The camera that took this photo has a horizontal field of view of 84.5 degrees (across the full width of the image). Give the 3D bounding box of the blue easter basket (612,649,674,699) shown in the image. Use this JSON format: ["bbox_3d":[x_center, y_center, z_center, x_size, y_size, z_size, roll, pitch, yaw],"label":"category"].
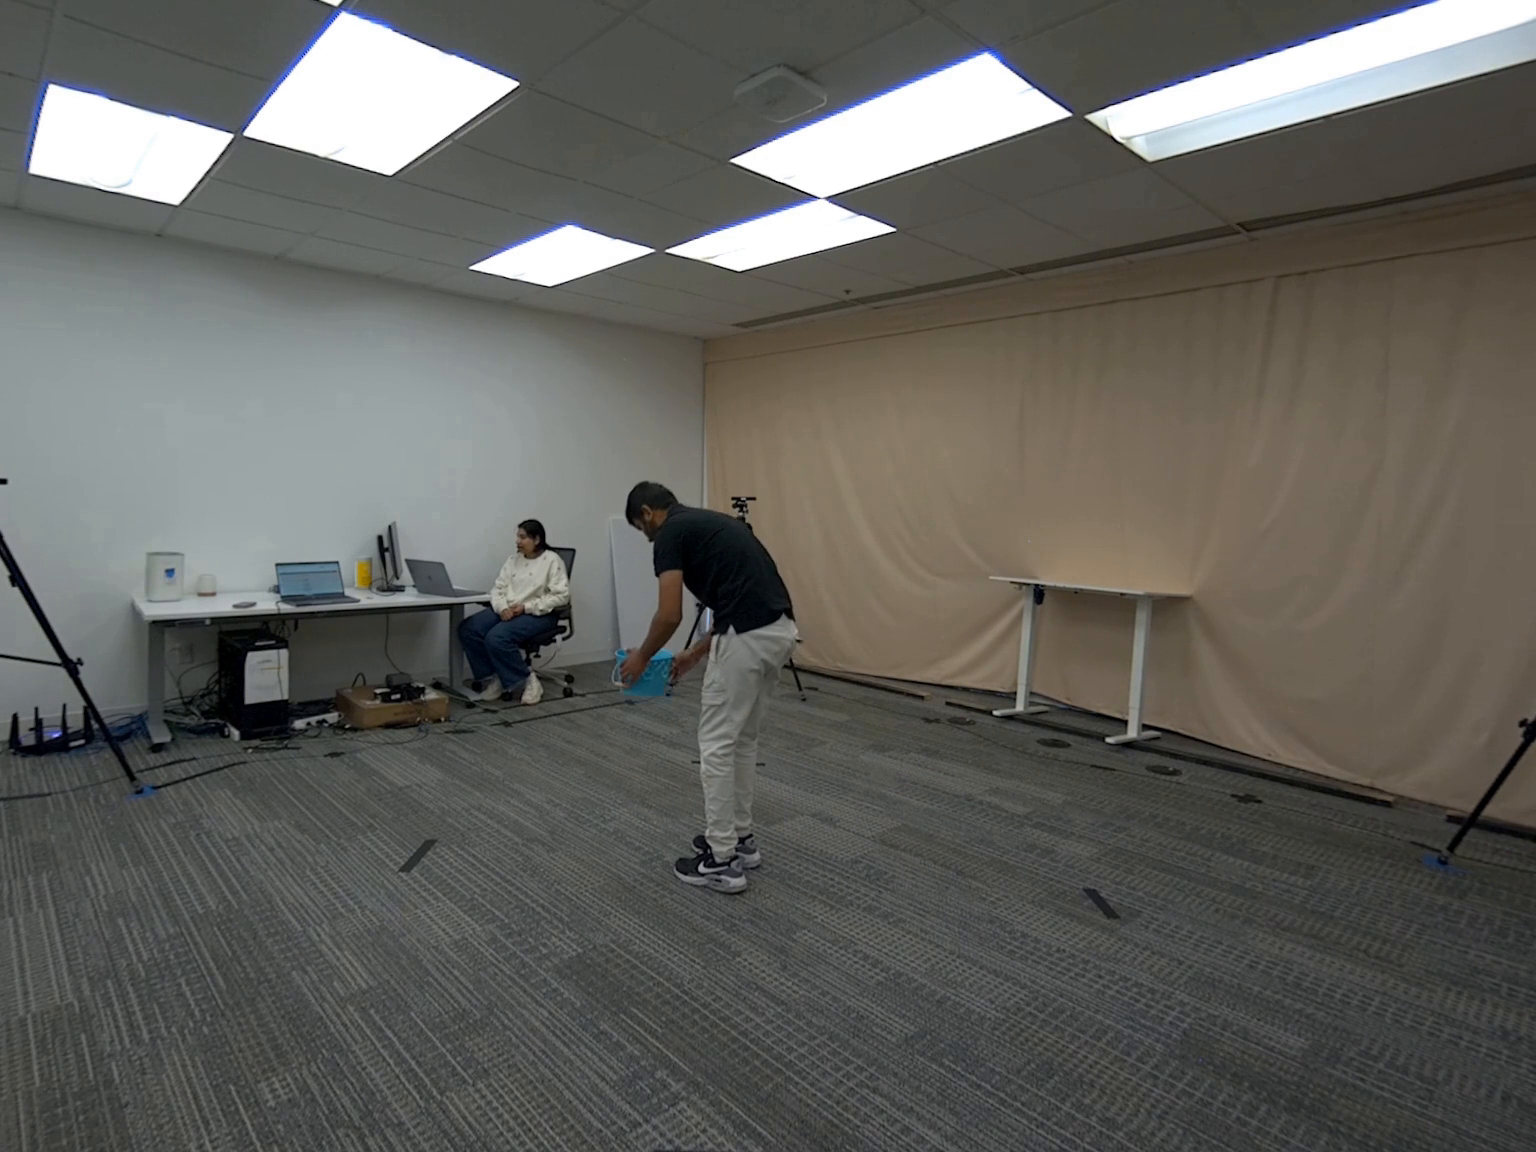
[{"bbox_3d":[-0.498,0.387,3.340,0.243,0.155,0.244,3,5,-2],"label":"blue easter basket"}]
